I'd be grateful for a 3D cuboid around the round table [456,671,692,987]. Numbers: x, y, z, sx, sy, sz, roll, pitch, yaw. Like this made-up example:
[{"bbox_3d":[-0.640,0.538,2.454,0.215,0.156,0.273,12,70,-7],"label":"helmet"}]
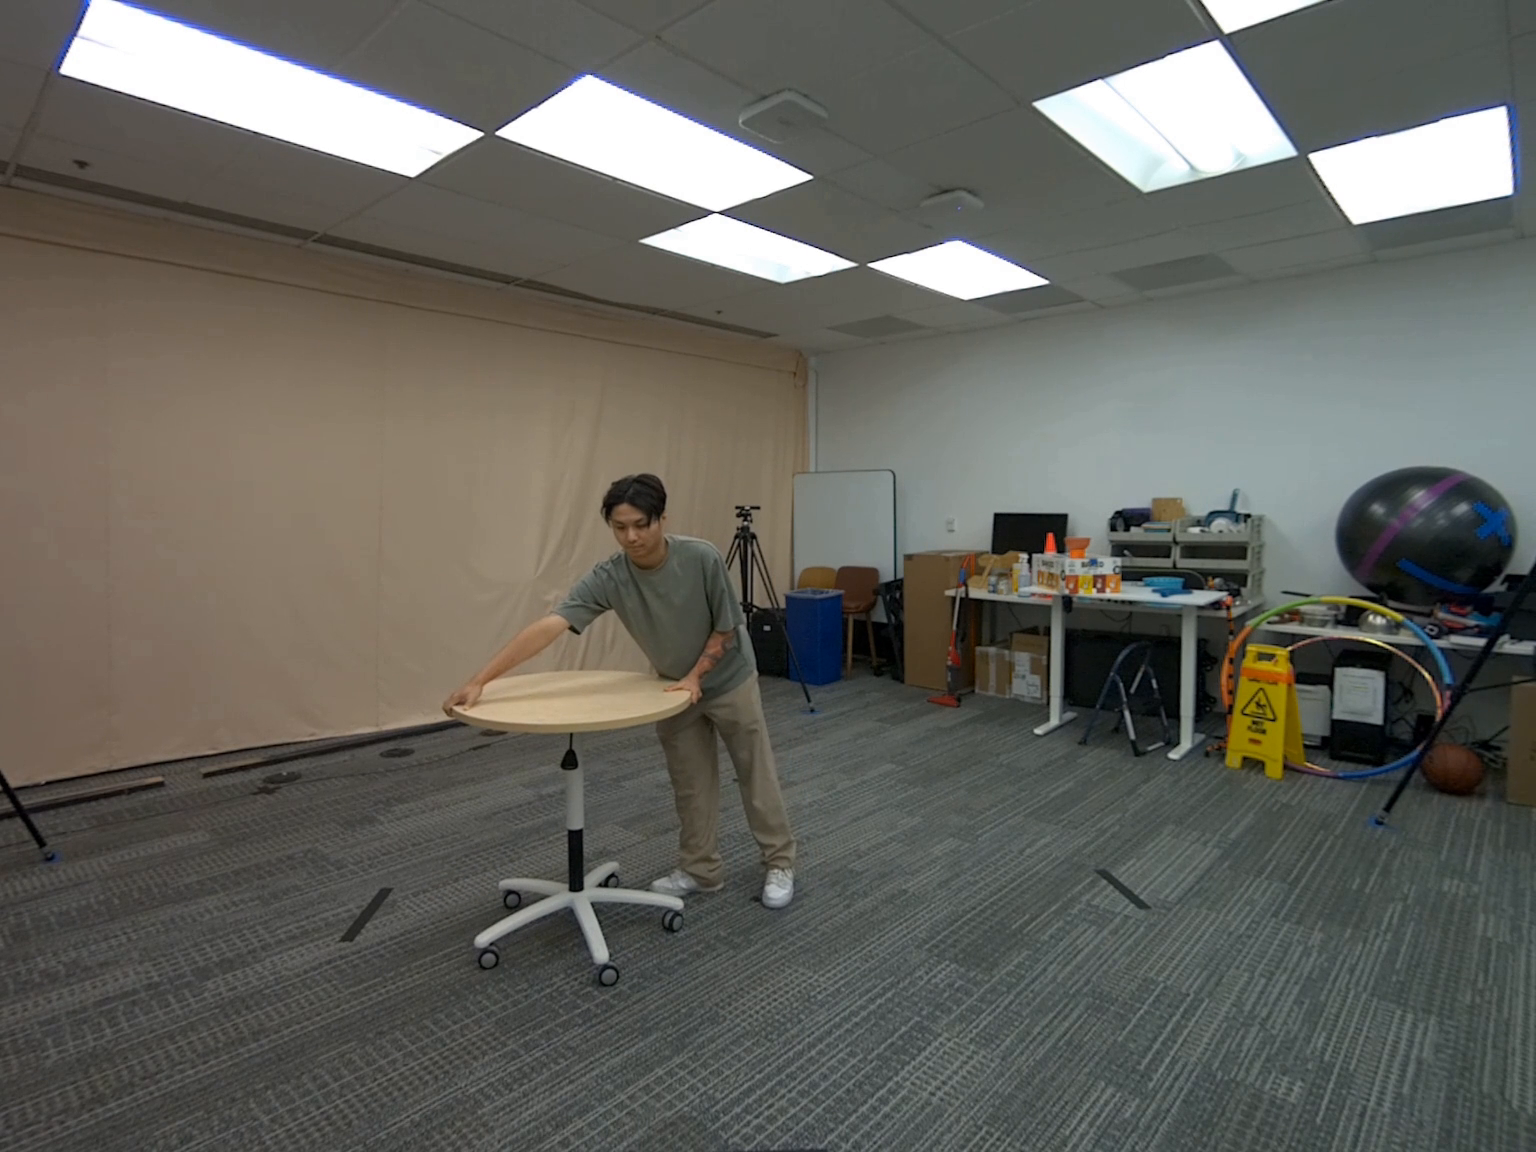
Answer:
[{"bbox_3d":[-0.640,0.773,2.751,0.784,0.784,0.788,0,4,-2],"label":"round table"}]
